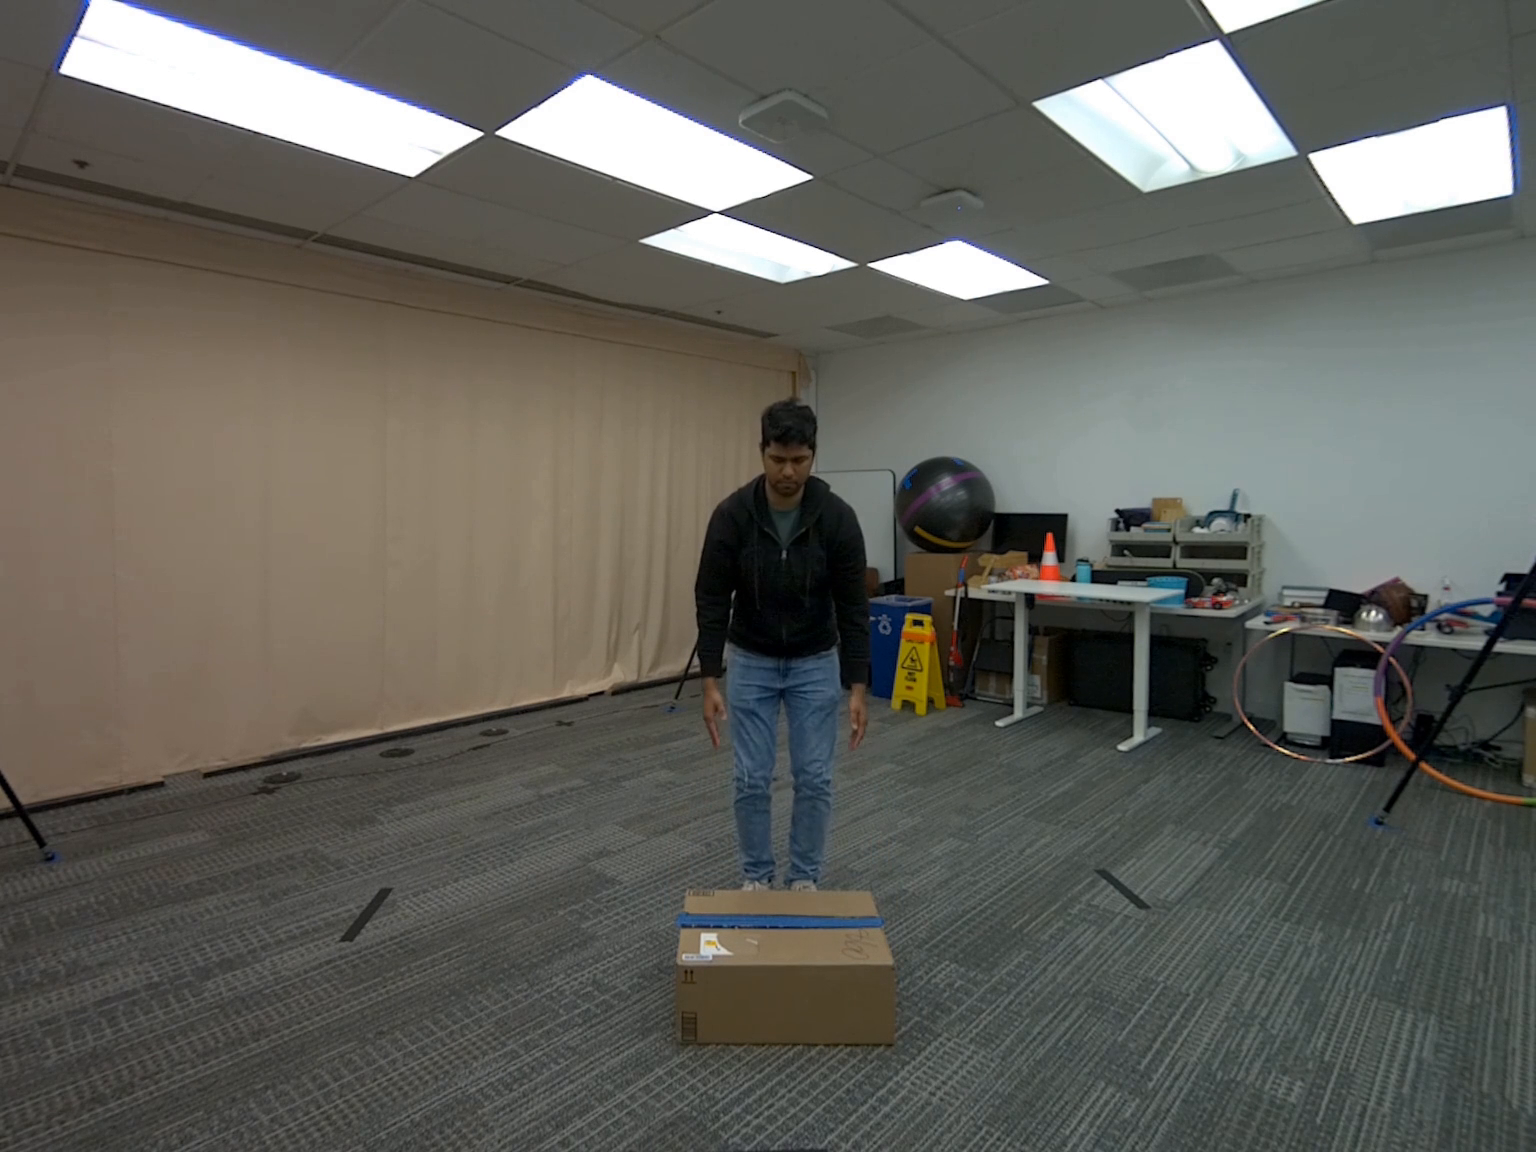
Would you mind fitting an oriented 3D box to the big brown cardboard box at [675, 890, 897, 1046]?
[{"bbox_3d":[0.037,1.083,2.371,0.589,0.232,0.418,1,4,0],"label":"big brown cardboard box"}]
